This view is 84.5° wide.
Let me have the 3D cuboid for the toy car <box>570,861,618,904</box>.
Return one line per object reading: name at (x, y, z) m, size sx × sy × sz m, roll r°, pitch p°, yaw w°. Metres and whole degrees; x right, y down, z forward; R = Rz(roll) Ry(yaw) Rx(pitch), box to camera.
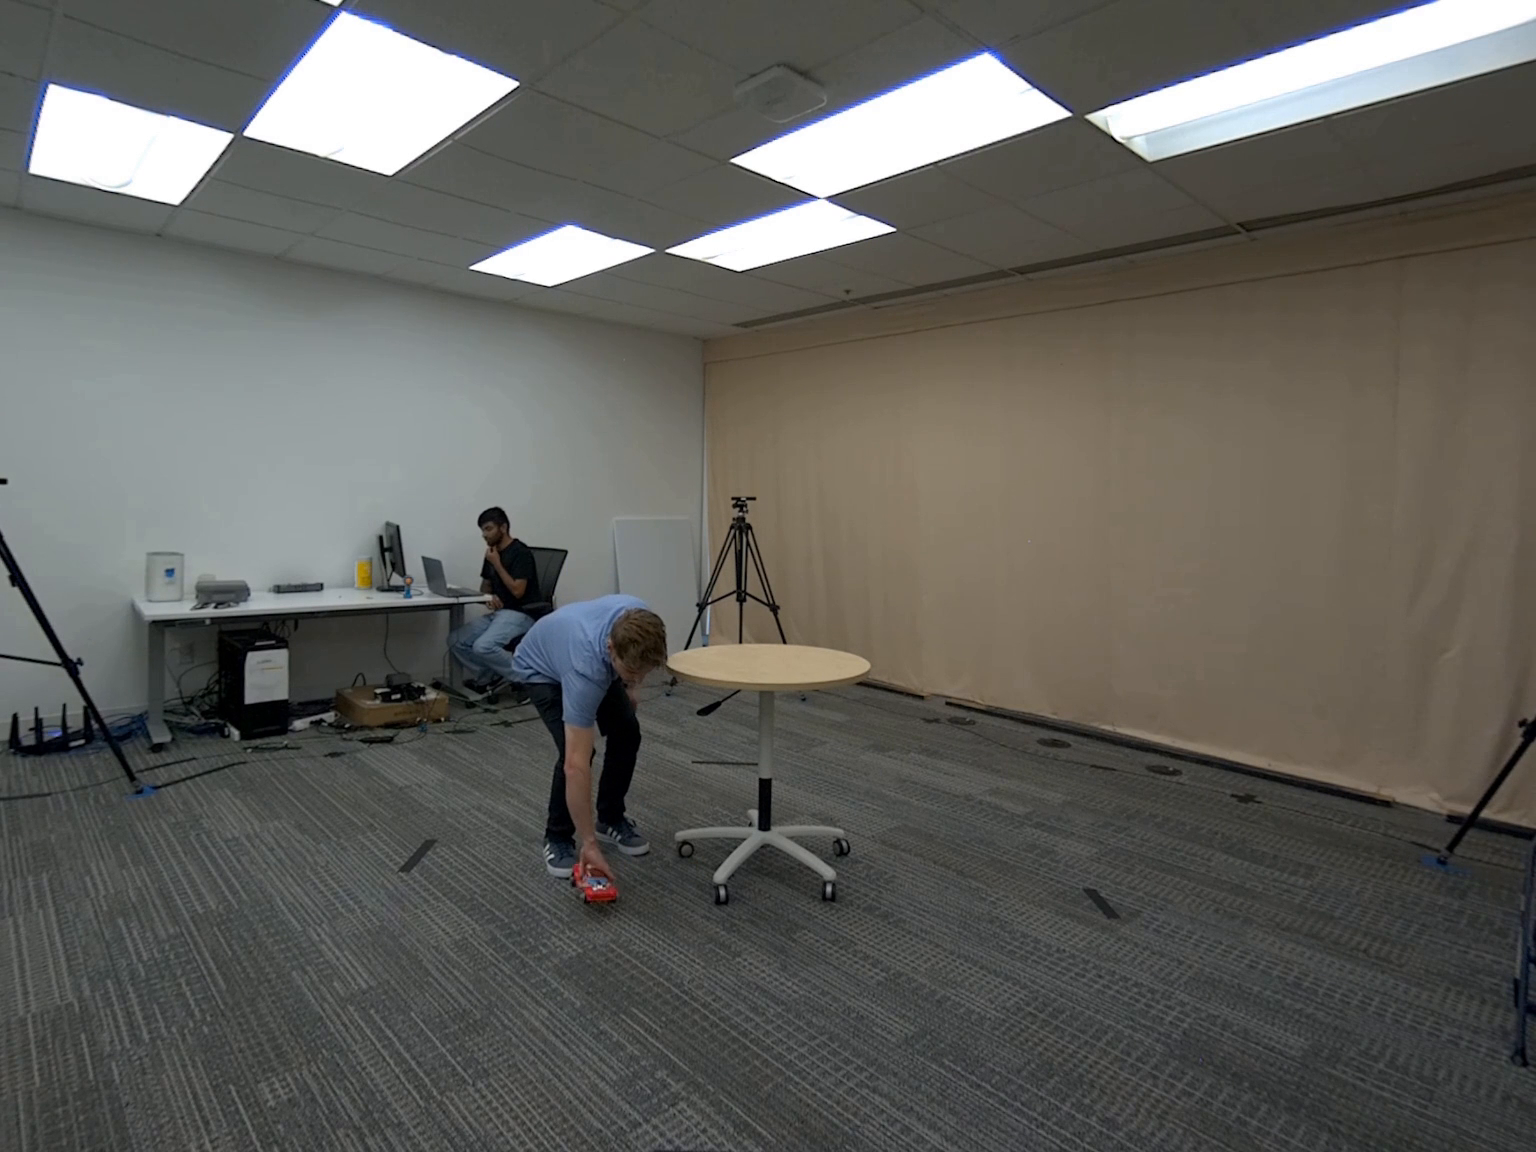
toy car at (-0.602, 1.050, 2.862) m, size 0.128 × 0.083 × 0.260 m, roll 8°, pitch 9°, yaw -24°
